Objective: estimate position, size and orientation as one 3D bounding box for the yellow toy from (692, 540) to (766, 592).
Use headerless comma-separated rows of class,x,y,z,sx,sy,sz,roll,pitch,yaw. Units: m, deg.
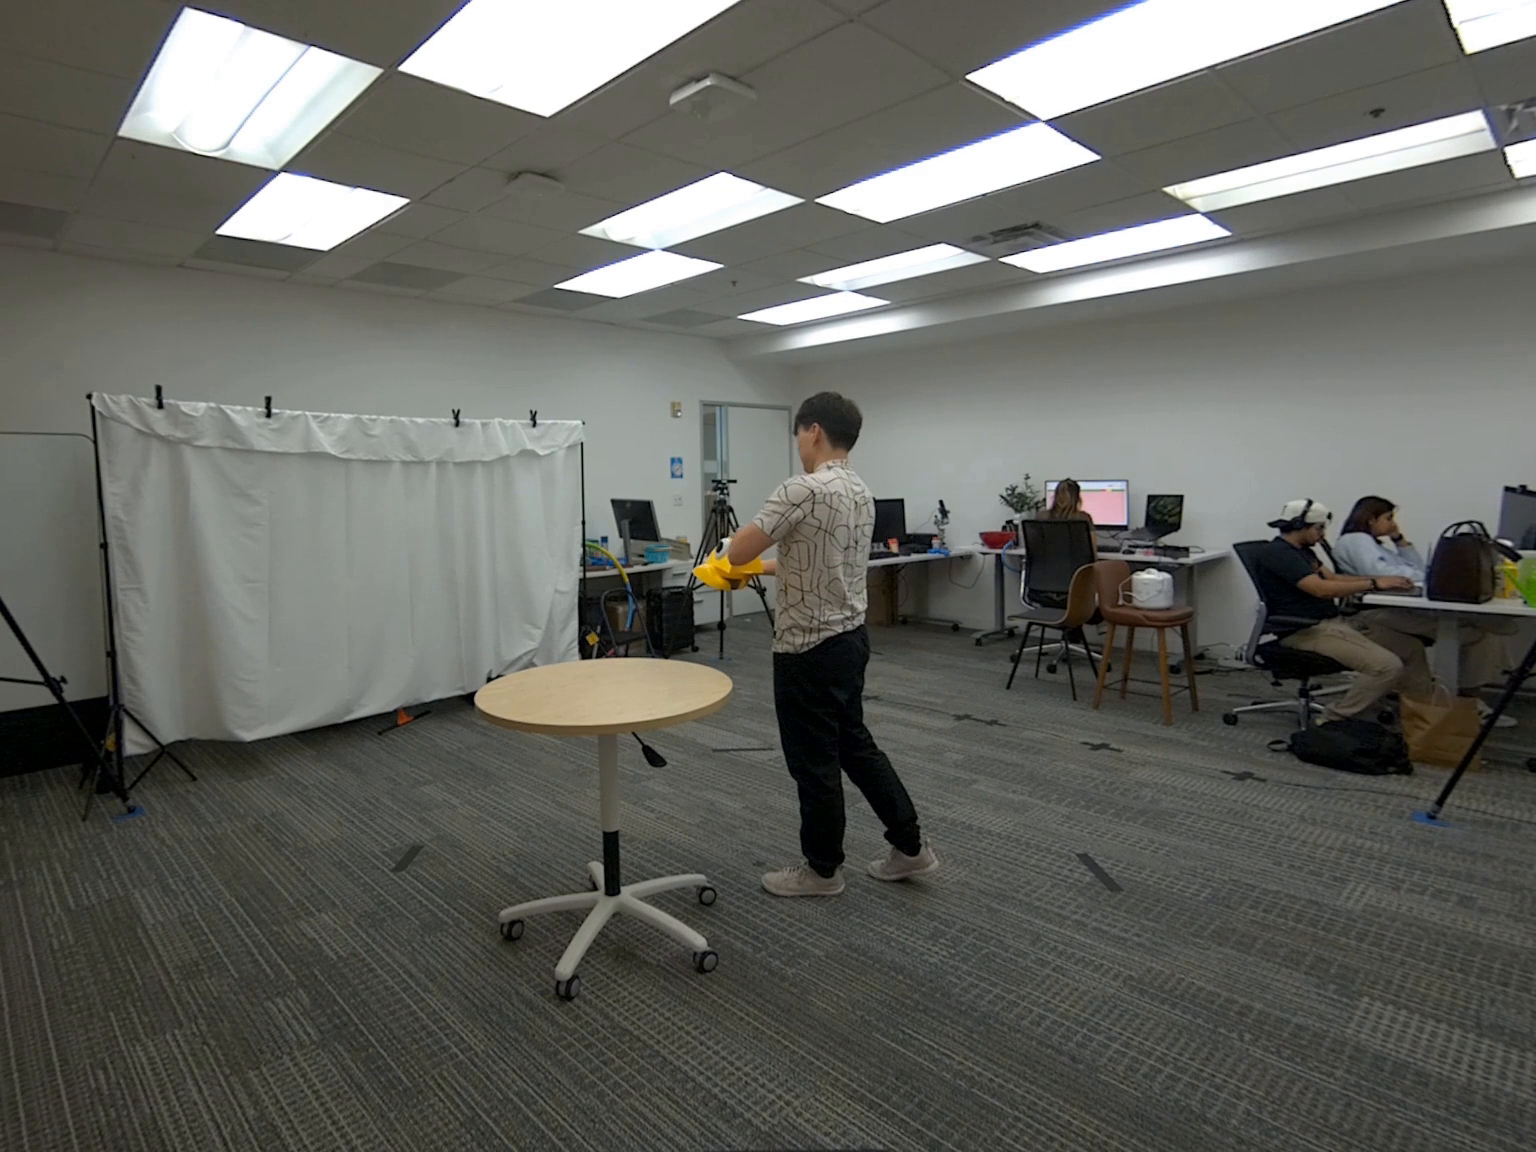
yellow toy,-0.133,-0.082,3.085,0.200,0.229,0.199,32,18,32
